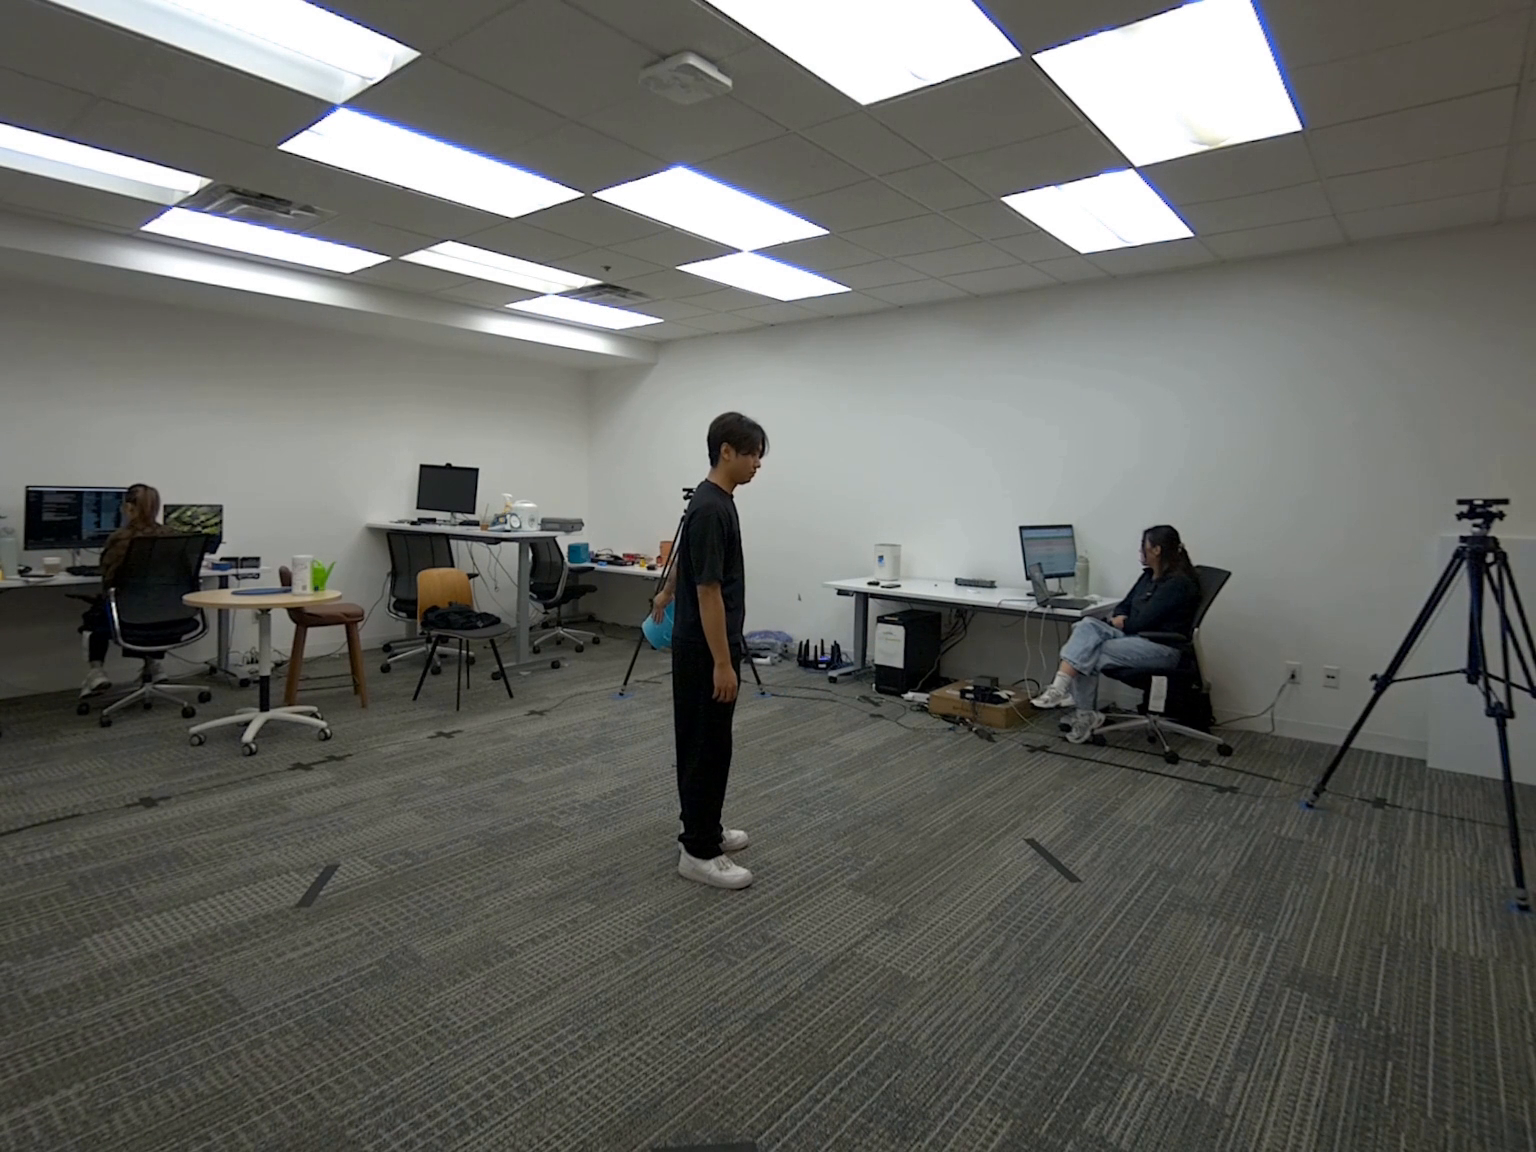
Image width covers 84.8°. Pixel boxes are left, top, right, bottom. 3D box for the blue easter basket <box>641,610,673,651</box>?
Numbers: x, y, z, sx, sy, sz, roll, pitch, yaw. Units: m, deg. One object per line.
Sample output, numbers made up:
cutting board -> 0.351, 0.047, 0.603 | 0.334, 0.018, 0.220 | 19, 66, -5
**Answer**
blue easter basket -> -0.429, 0.226, 3.718 | 0.156, 0.247, 0.239 | -43, -10, 16
